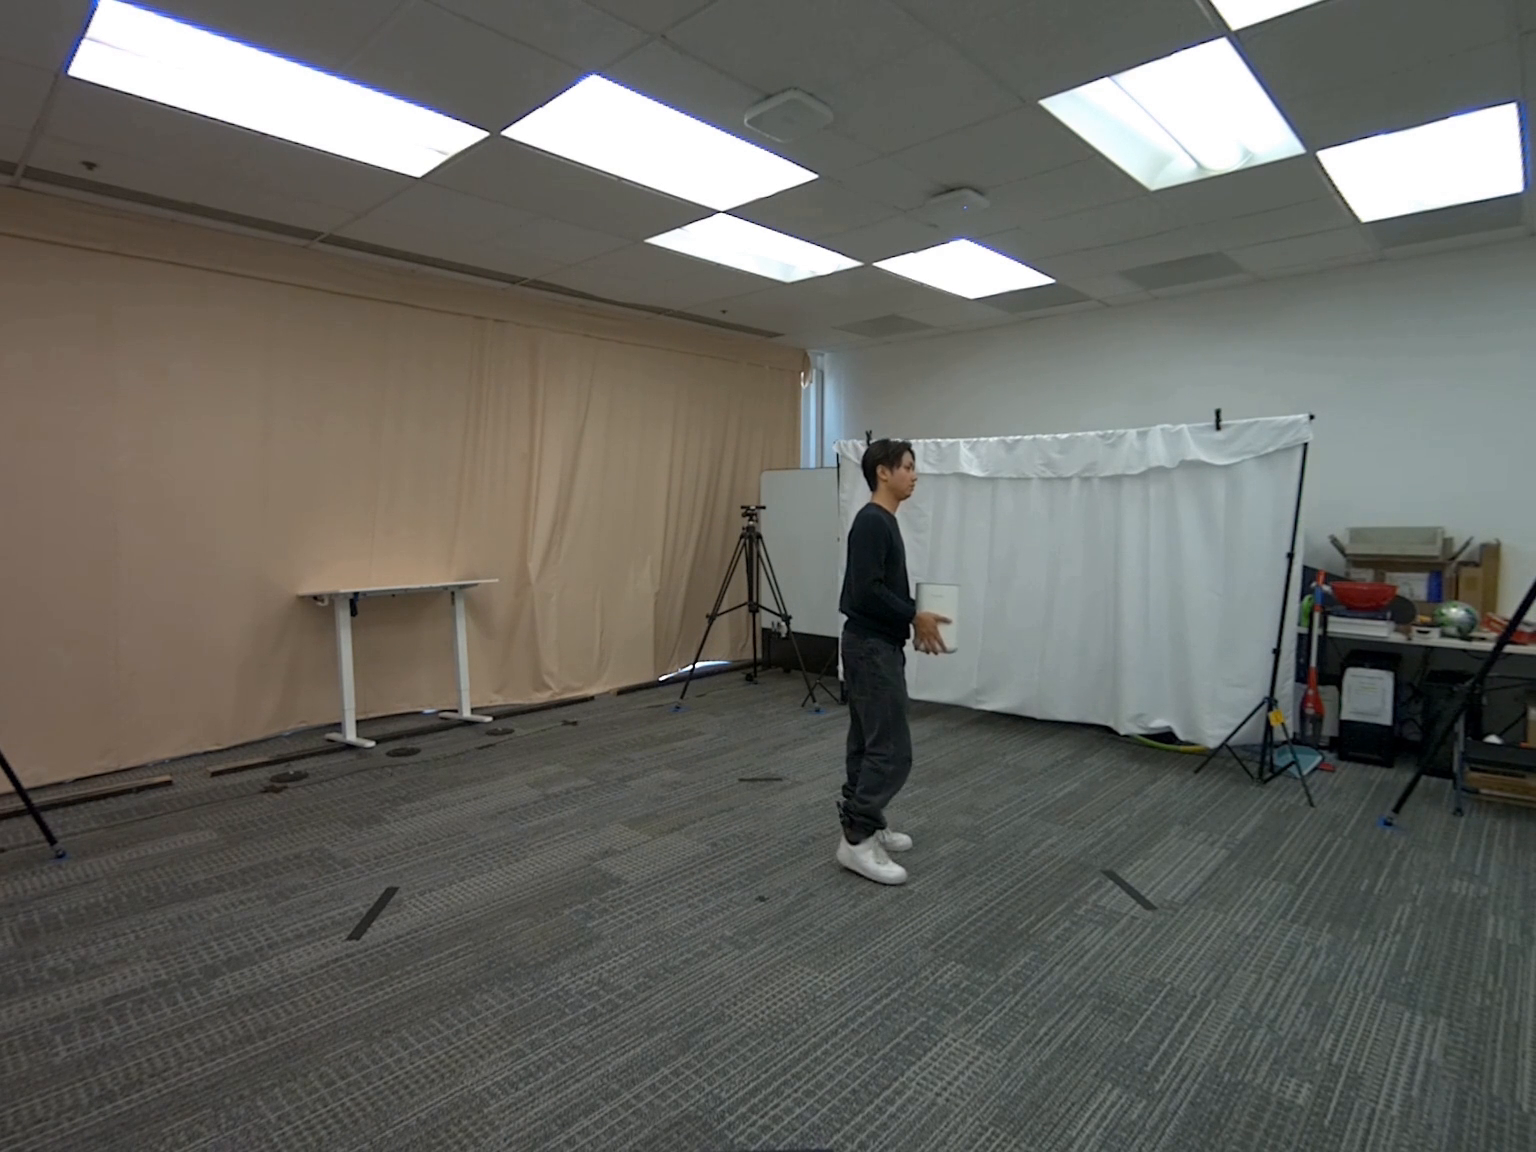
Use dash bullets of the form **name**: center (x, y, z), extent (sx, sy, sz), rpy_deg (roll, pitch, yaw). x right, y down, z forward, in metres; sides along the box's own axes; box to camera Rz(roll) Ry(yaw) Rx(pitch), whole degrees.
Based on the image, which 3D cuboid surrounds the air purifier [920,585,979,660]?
- **air purifier**: center (0.693, 0.172, 3.265), extent (0.171, 0.265, 0.171), rpy_deg (3, -1, 1)
